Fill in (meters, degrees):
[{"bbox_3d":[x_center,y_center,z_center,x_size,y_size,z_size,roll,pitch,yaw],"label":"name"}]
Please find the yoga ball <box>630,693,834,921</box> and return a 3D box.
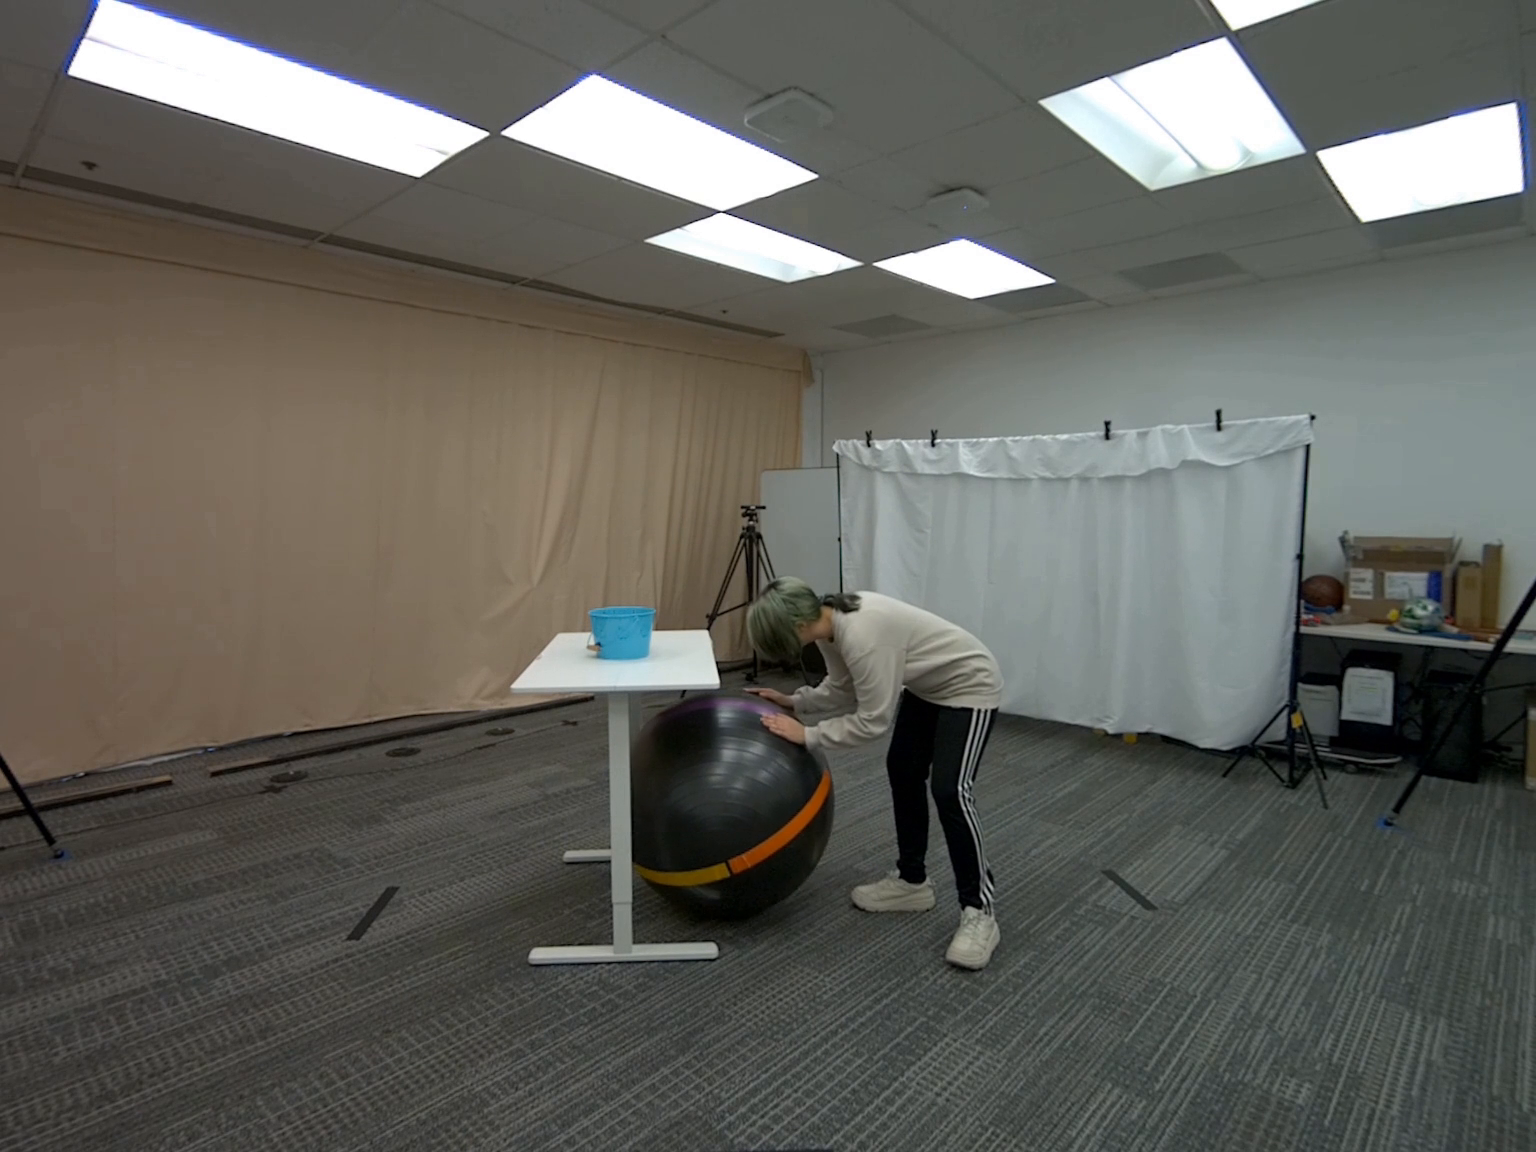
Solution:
[{"bbox_3d":[-0.146,0.779,2.928,0.757,0.756,0.760,0,4,-2],"label":"yoga ball"}]
